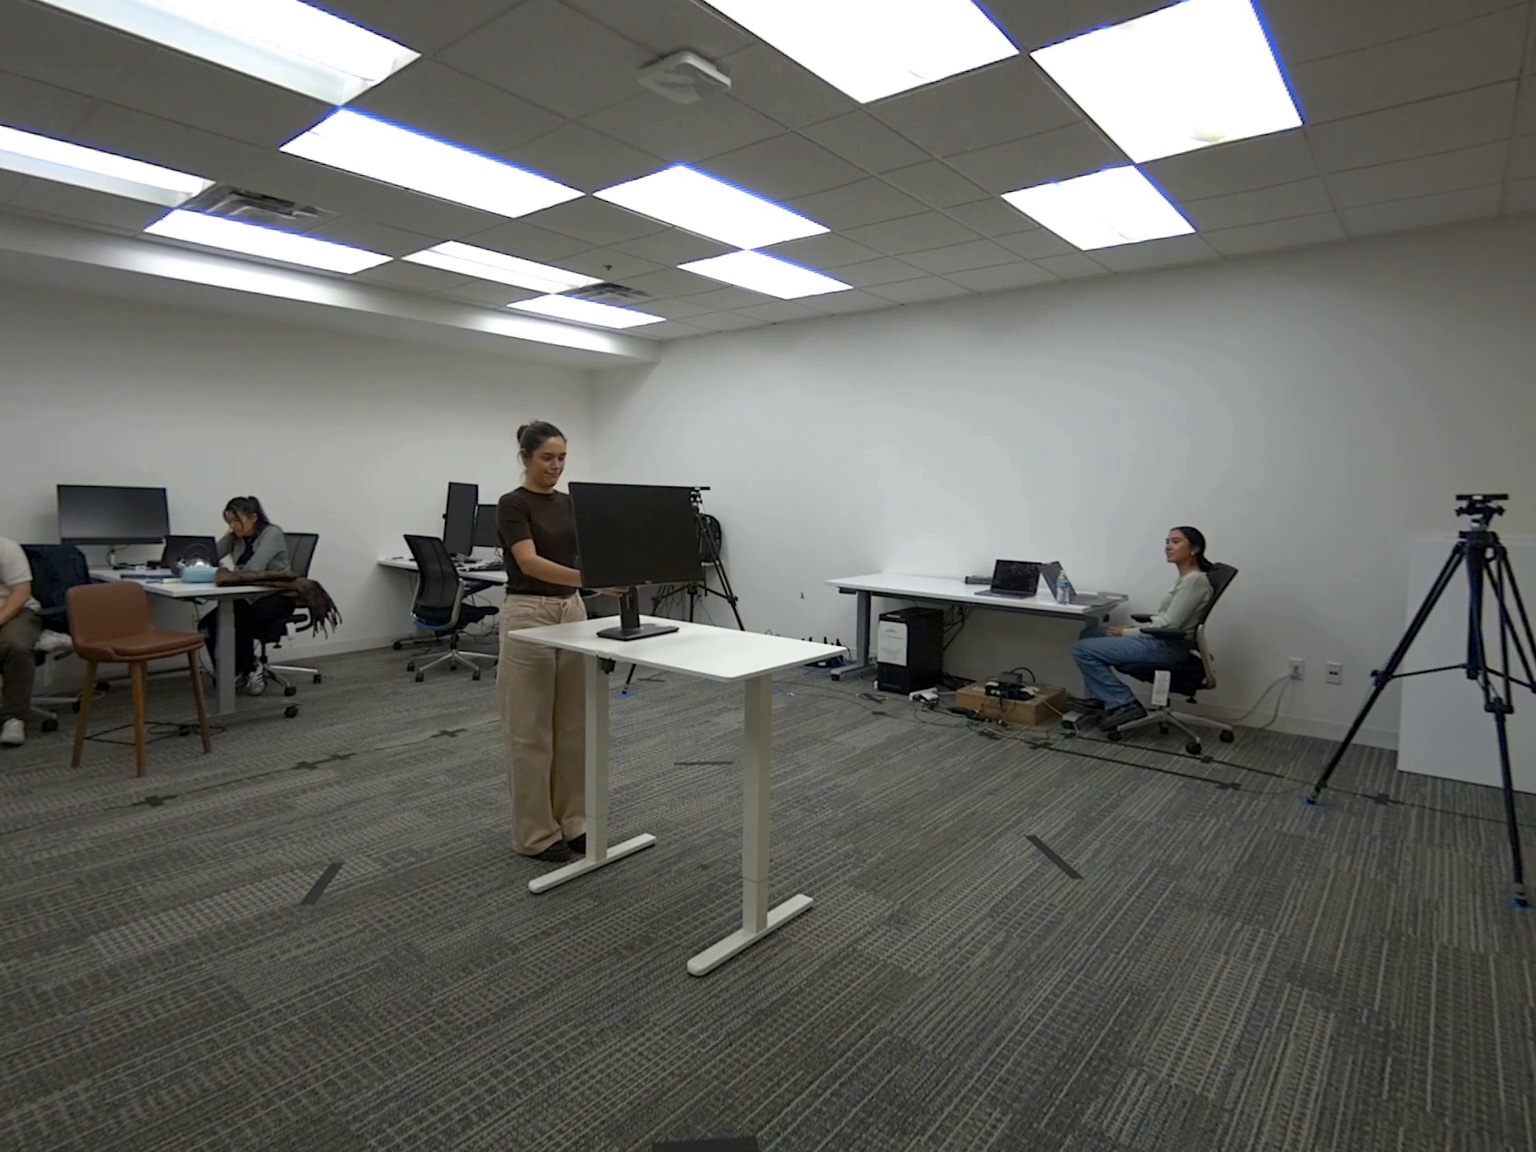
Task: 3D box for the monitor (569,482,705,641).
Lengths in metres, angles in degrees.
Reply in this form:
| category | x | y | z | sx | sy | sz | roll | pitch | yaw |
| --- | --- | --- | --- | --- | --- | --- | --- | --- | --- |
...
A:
| category | x | y | z | sx | sy | sz | roll | pitch | yaw |
| --- | --- | --- | --- | --- | --- | --- | --- | --- | --- |
| monitor | -0.464 | -0.055 | 2.917 | 0.193 | 0.521 | 0.523 | 3 | 4 | 41 |
